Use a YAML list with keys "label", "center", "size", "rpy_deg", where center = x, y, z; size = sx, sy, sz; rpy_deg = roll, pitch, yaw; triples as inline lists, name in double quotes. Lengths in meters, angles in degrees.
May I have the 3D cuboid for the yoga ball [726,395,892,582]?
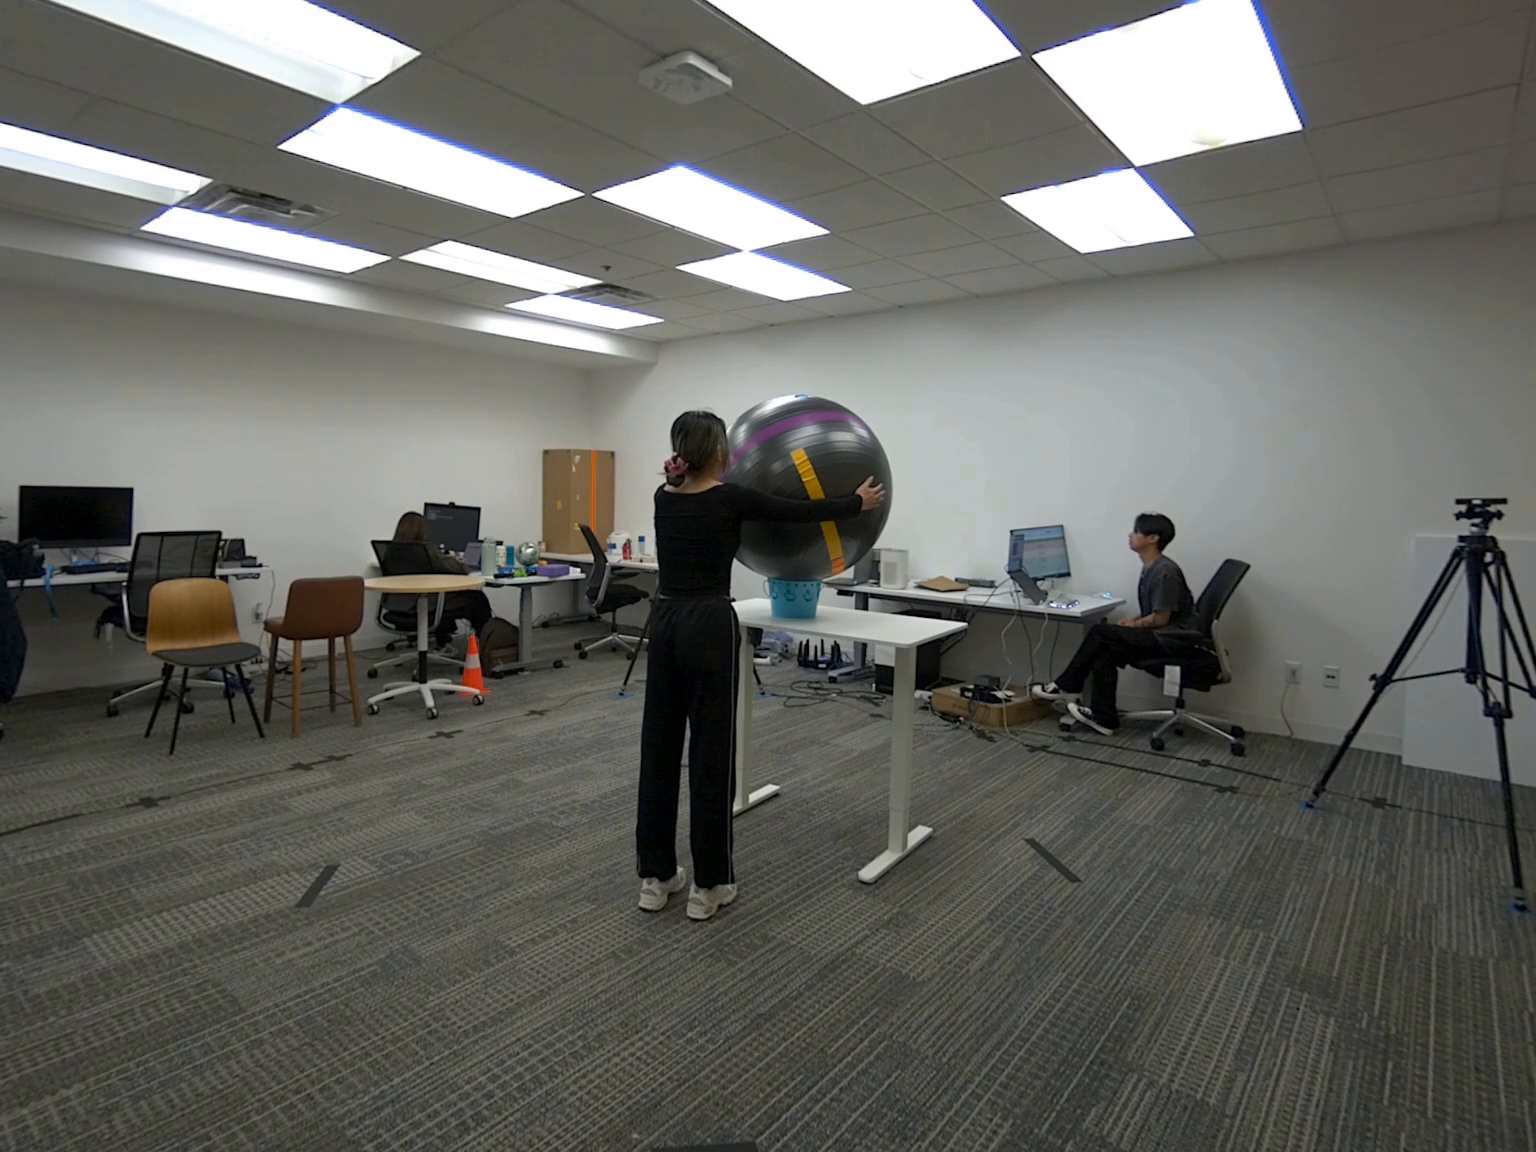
- label: "yoga ball"
  center: [0.123, -0.349, 3.452]
  size: [0.757, 0.756, 0.761]
  rpy_deg: [1, 4, -2]
